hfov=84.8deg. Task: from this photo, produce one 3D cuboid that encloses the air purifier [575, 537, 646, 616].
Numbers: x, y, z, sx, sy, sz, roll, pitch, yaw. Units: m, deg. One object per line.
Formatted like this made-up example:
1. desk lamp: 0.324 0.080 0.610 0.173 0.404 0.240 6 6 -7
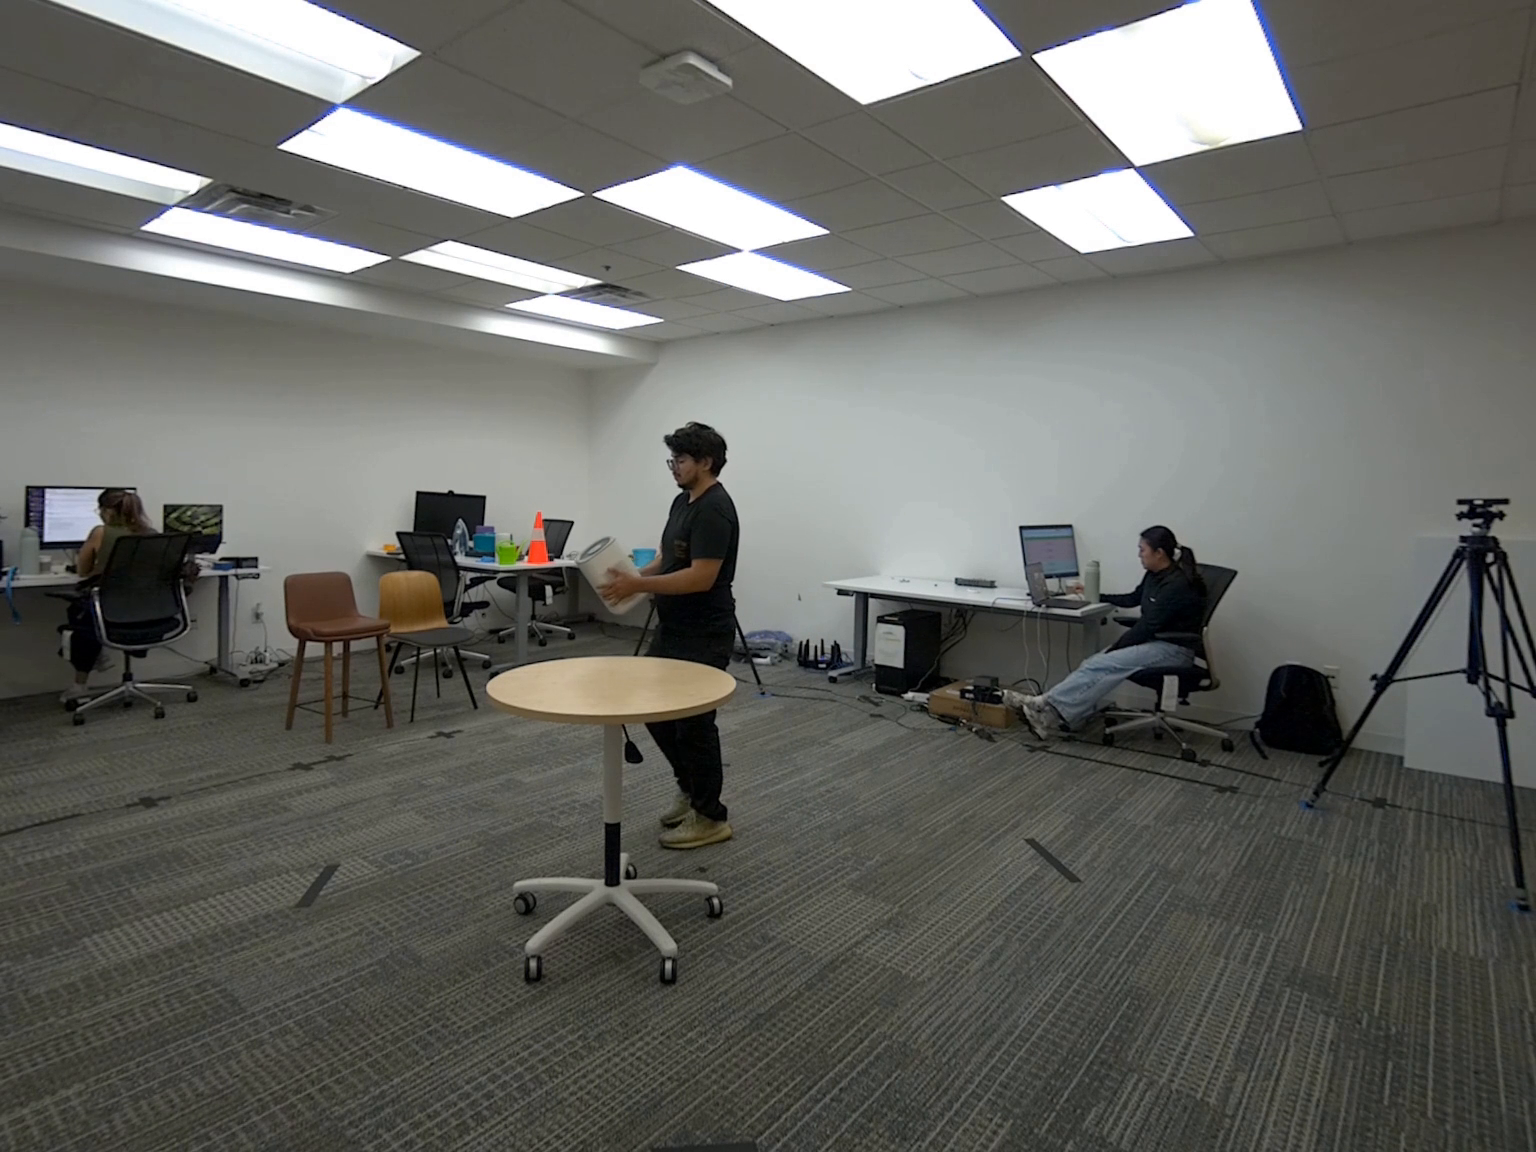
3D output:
1. air purifier: -0.611 -0.004 3.275 0.173 0.255 0.173 -37 21 -17
